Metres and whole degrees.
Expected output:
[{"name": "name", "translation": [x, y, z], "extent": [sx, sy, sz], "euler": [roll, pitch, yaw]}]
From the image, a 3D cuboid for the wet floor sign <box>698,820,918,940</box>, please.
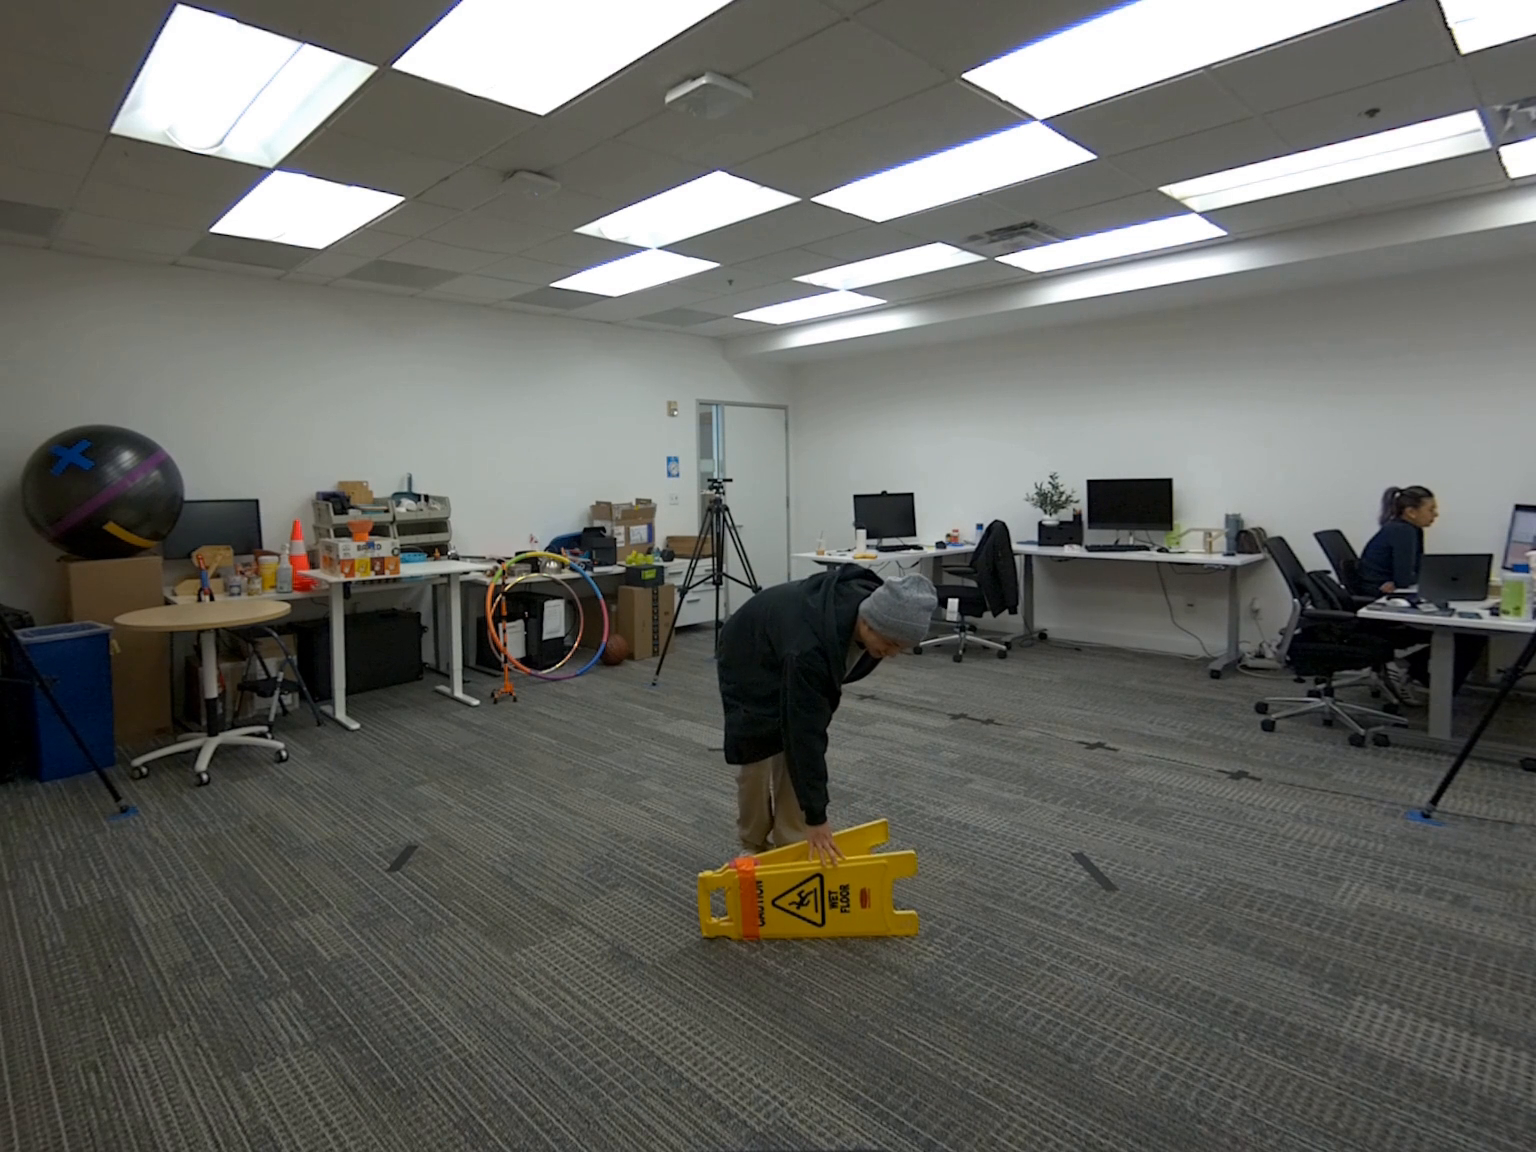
[{"name": "wet floor sign", "translation": [0.113, 0.972, 2.638], "extent": [0.640, 0.280, 0.294], "euler": [-5, 8, -10]}]
